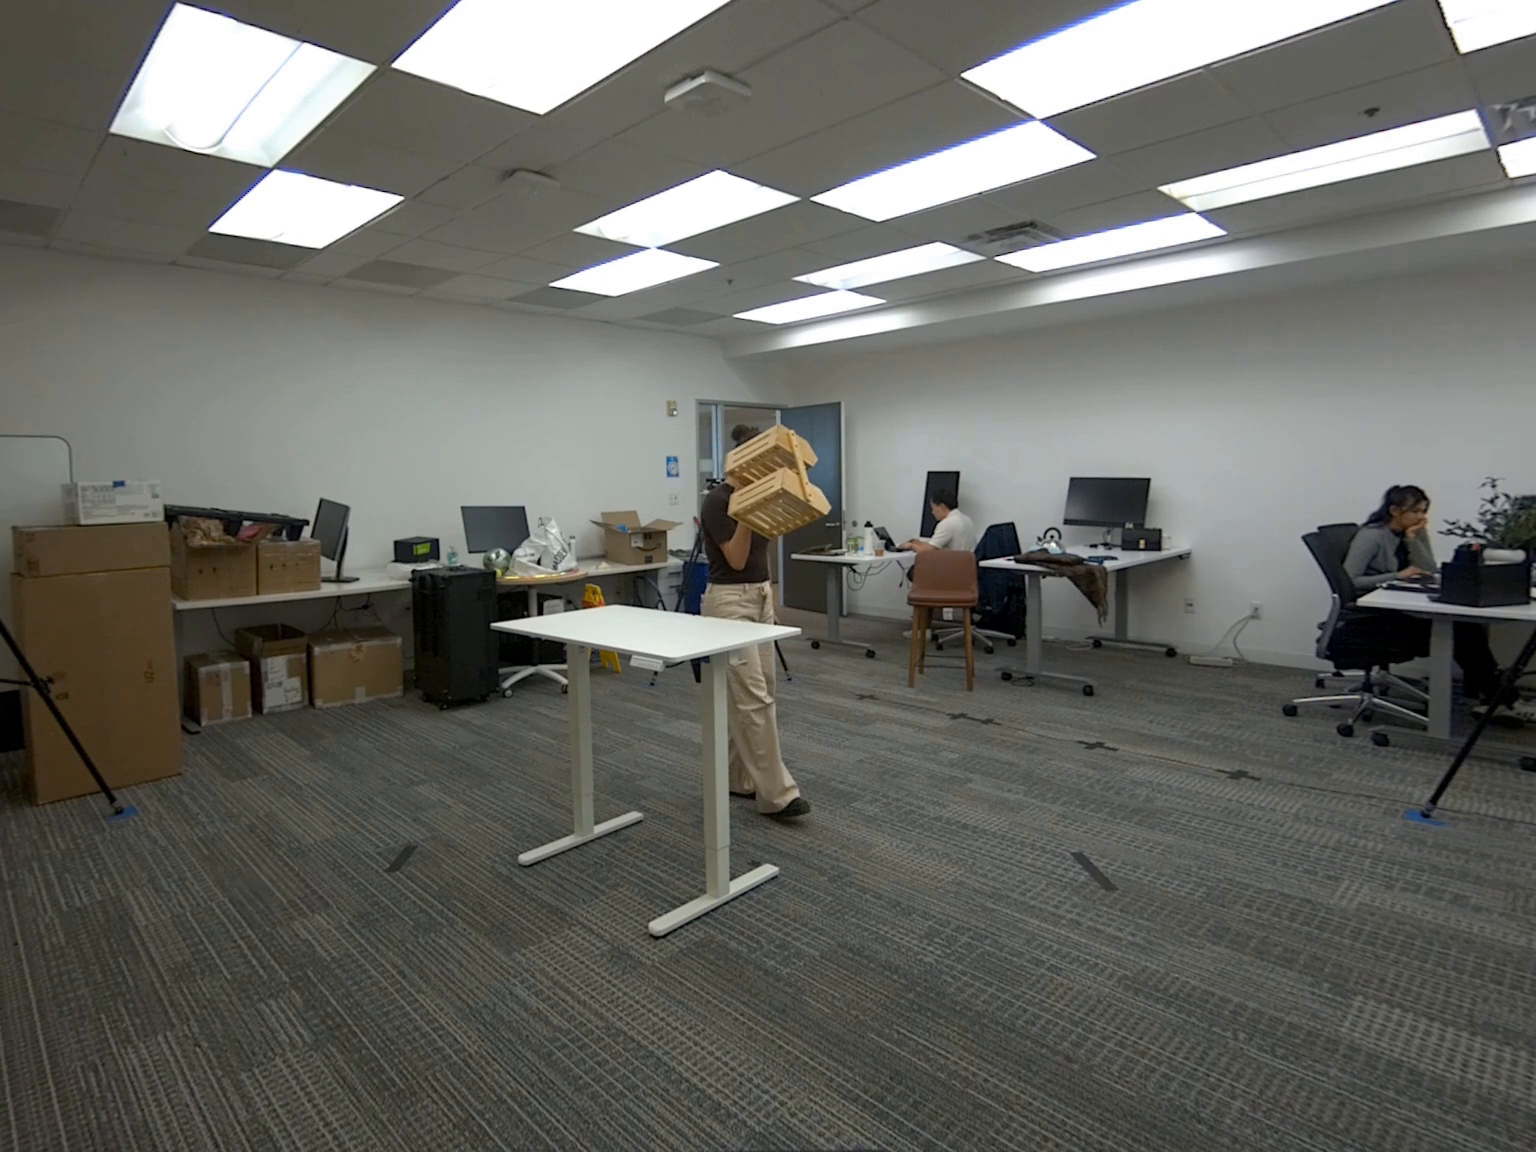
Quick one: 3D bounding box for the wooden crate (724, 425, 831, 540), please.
[{"bbox_3d":[0.037,-0.352,3.268,0.292,0.279,0.329,28,-35,-33],"label":"wooden crate"}]
